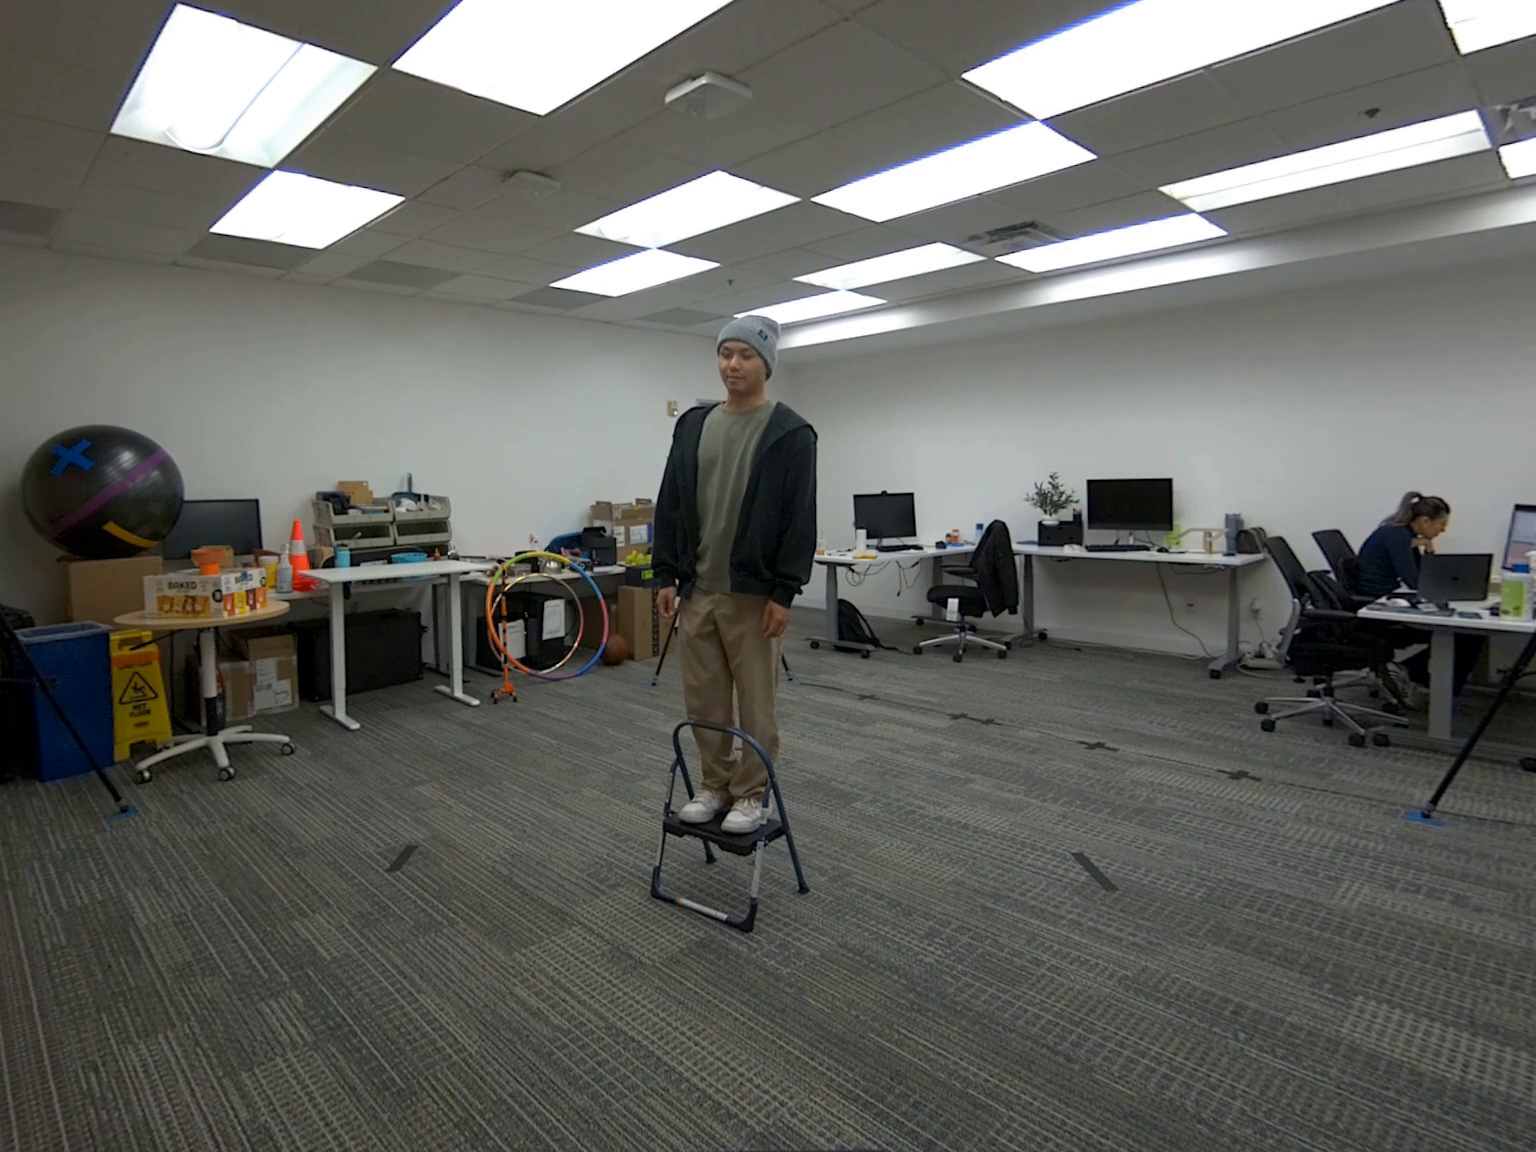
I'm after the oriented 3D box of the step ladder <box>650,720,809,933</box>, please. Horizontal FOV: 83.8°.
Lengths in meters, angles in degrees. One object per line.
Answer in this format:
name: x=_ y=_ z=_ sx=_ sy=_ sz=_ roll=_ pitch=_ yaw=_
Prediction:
step ladder: x=-0.137 y=0.773 z=2.866 sx=0.443 sy=0.603 sz=0.341 roll=2 pitch=6 yaw=35
